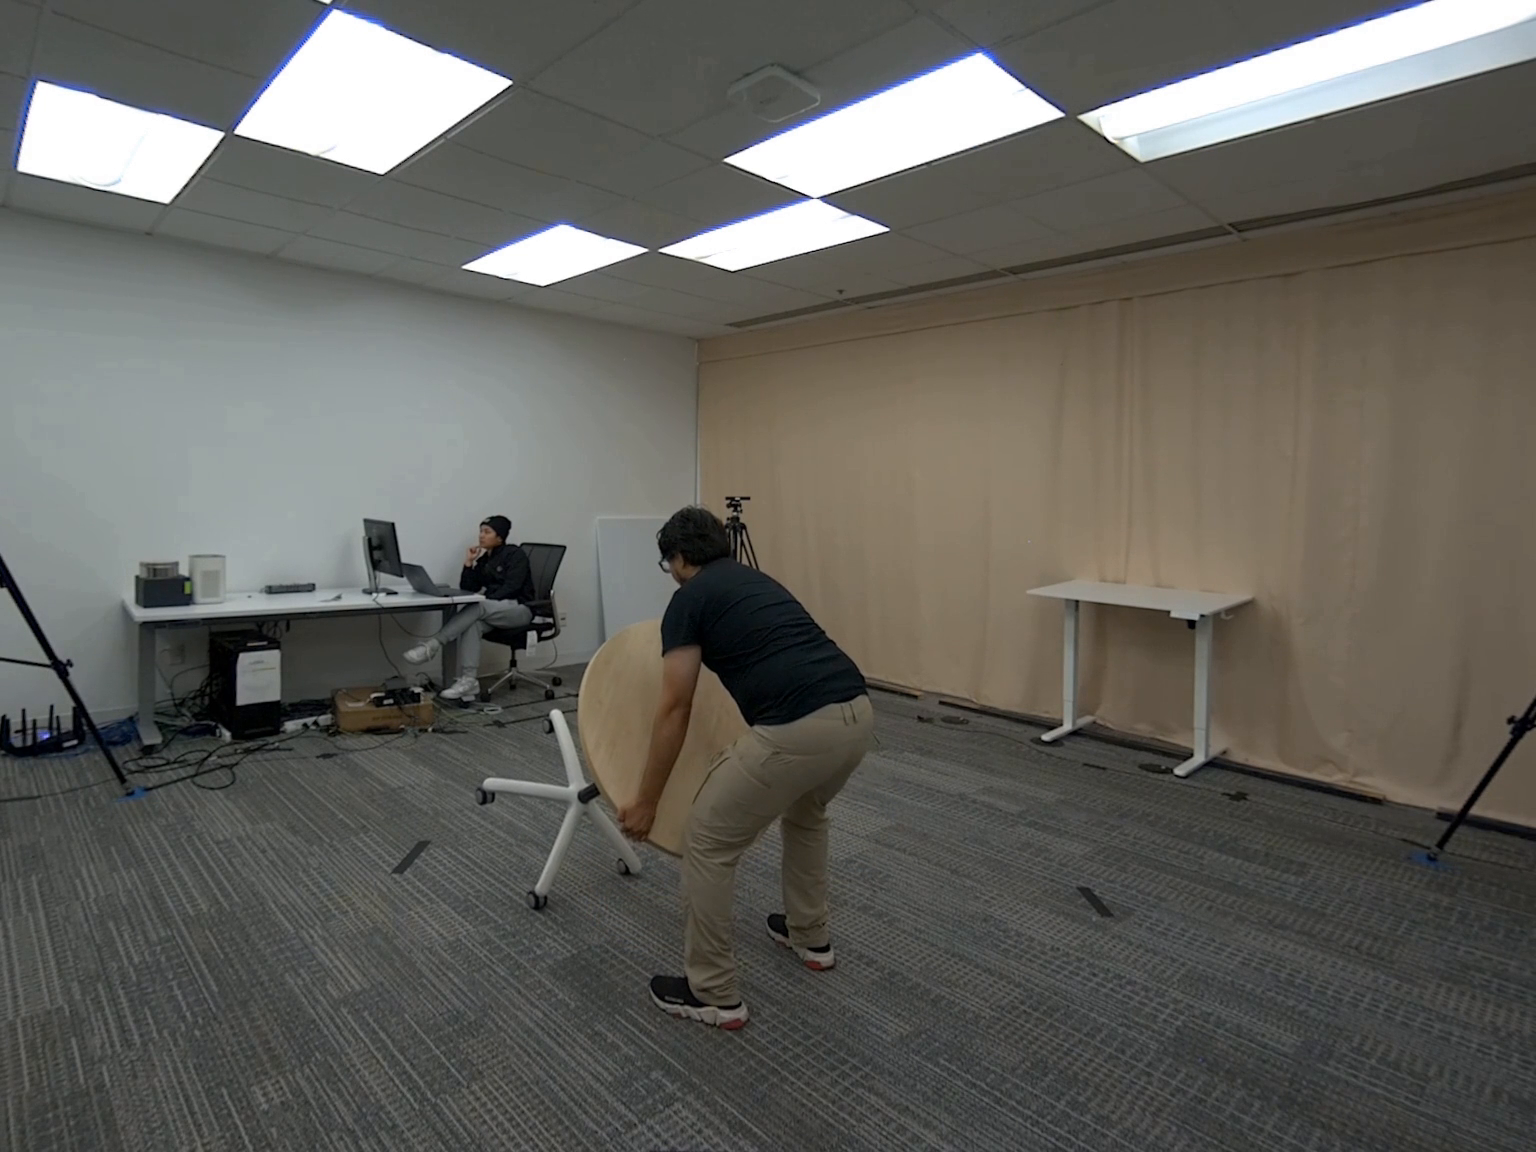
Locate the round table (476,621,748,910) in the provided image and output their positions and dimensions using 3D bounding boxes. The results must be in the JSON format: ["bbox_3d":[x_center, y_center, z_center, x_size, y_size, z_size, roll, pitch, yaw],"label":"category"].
[{"bbox_3d":[-0.495,0.675,2.856,0.767,0.799,0.790,-3,-27,-47],"label":"round table"}]
